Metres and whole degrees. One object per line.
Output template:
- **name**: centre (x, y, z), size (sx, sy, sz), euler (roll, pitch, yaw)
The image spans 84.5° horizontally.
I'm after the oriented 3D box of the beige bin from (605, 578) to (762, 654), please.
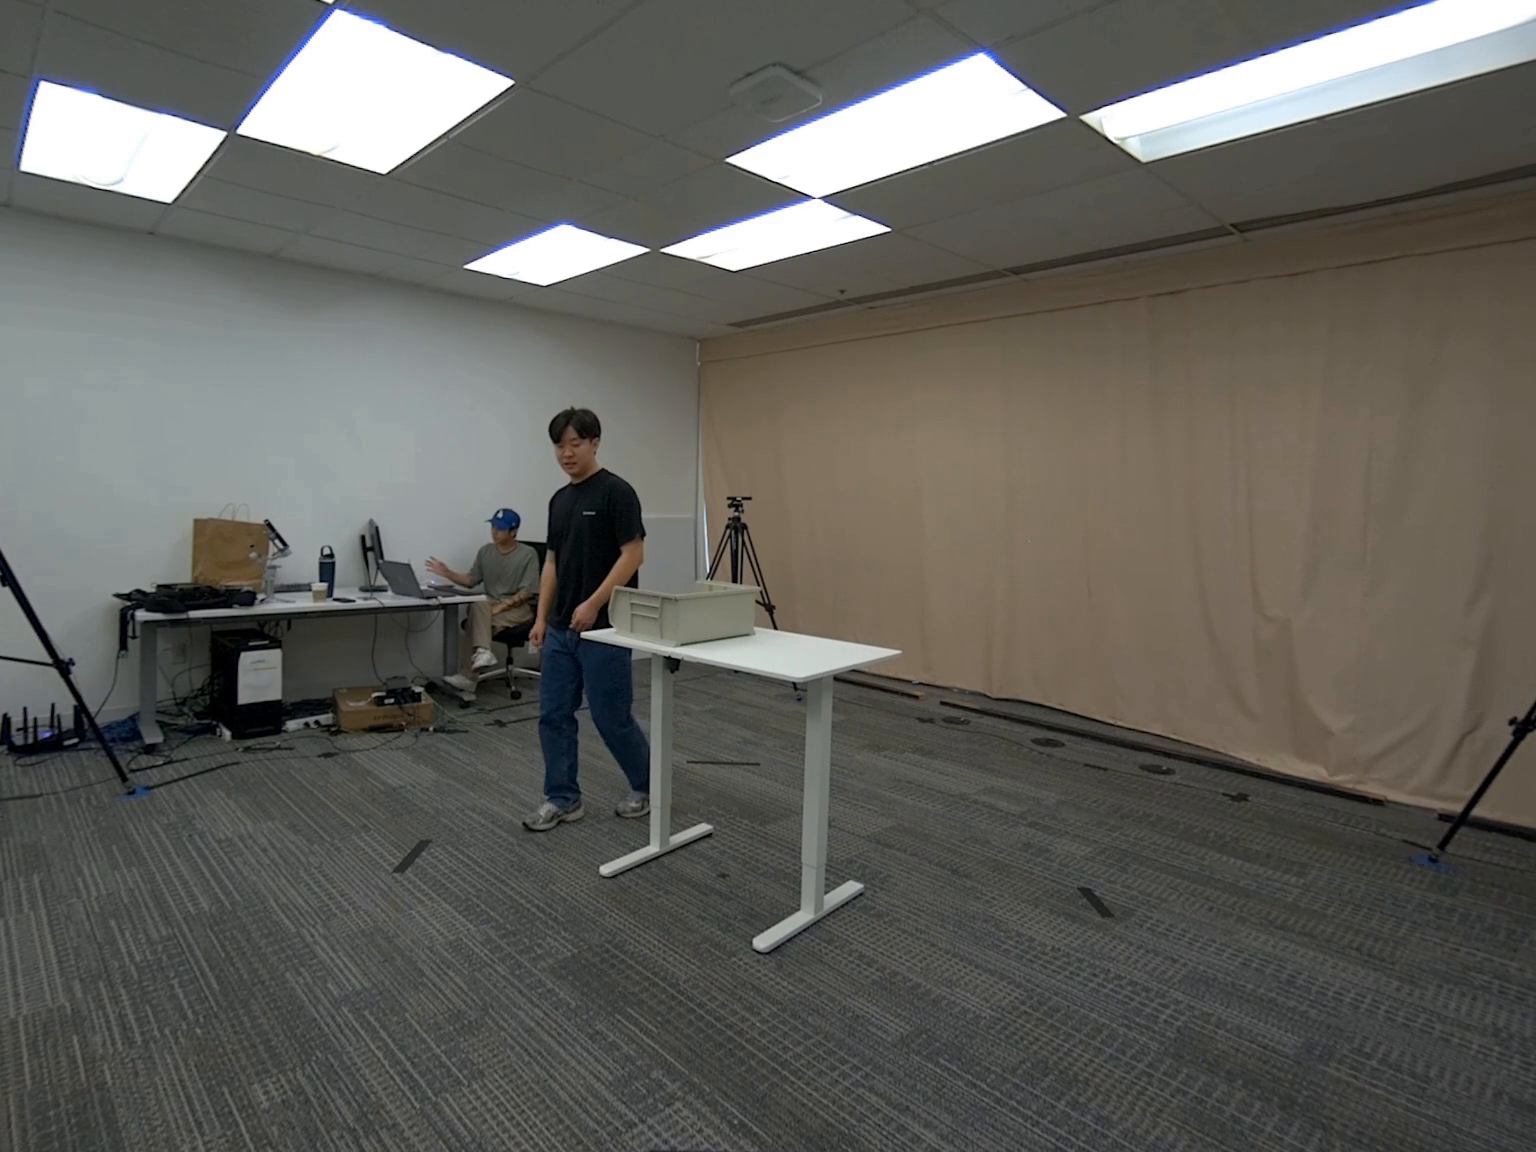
- **beige bin**: centre (-0.312, 0.134, 3.107), size (0.387, 0.188, 0.413), euler (8, 8, 44)
